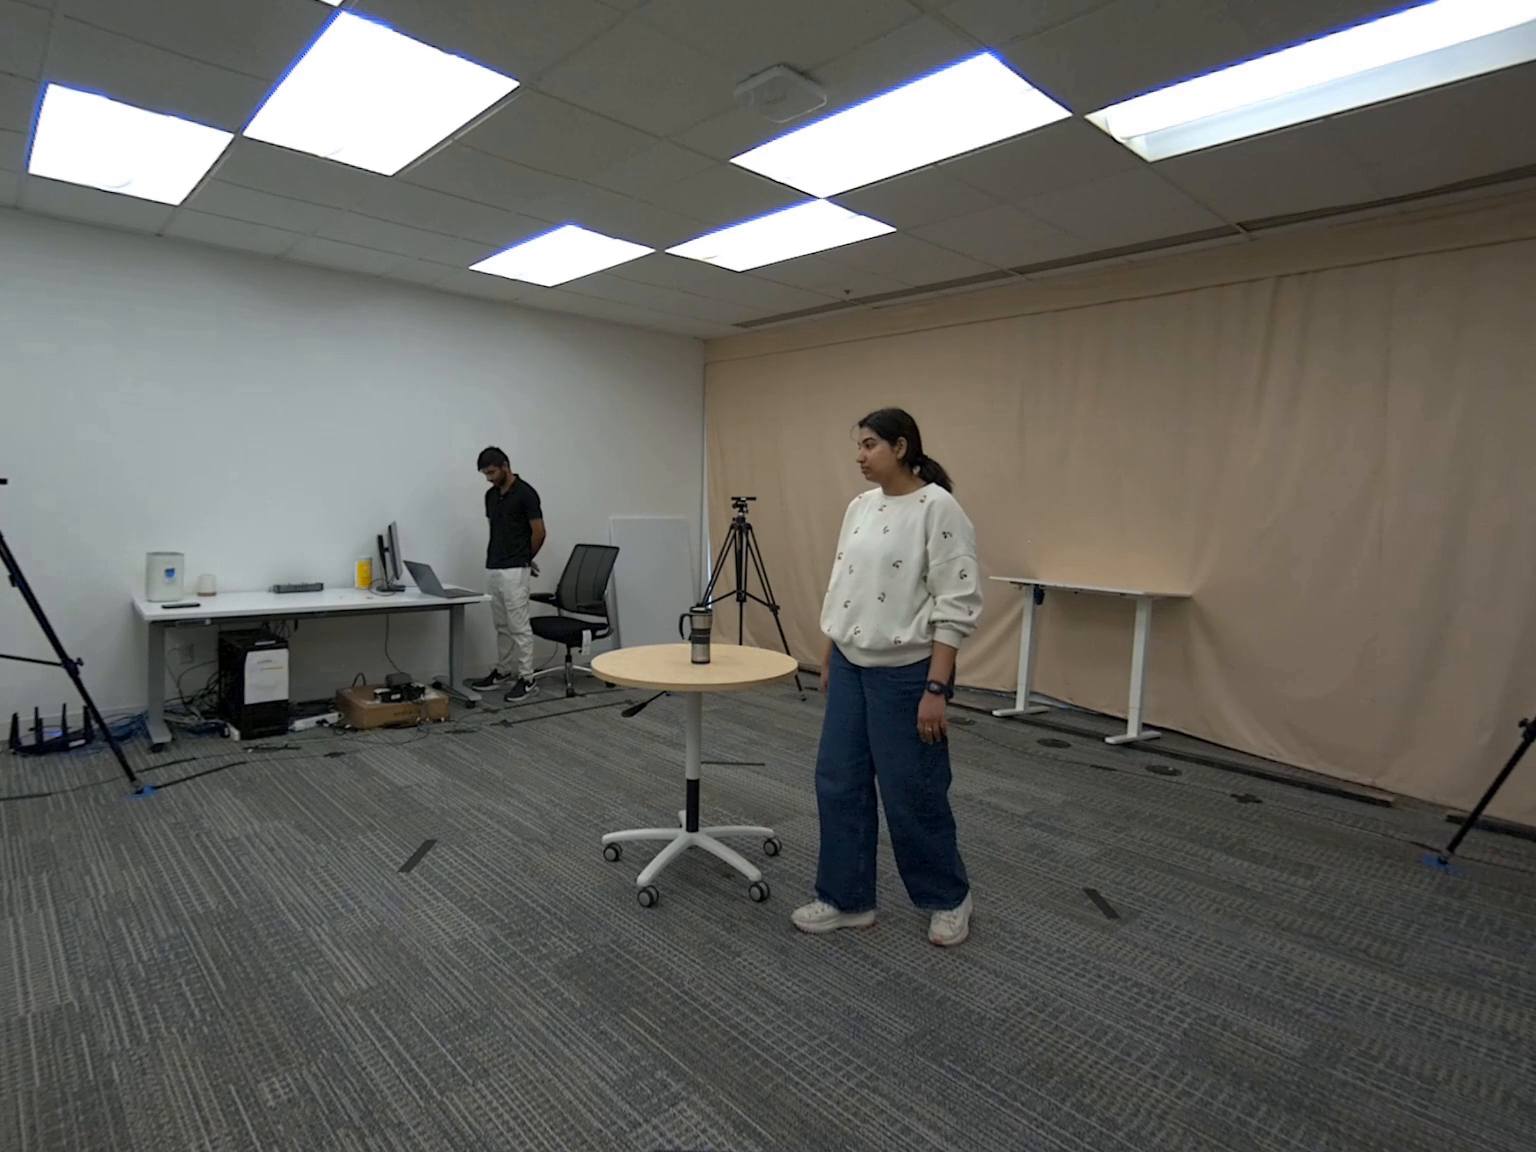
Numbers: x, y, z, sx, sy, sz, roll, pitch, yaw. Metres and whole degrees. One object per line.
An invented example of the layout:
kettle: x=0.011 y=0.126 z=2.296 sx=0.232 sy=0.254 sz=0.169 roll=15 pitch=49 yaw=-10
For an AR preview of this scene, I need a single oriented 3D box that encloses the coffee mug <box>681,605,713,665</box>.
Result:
coffee mug: x=-0.270 y=0.222 z=3.118 sx=0.125 sy=0.202 sz=0.086 roll=6 pitch=8 yaw=38
